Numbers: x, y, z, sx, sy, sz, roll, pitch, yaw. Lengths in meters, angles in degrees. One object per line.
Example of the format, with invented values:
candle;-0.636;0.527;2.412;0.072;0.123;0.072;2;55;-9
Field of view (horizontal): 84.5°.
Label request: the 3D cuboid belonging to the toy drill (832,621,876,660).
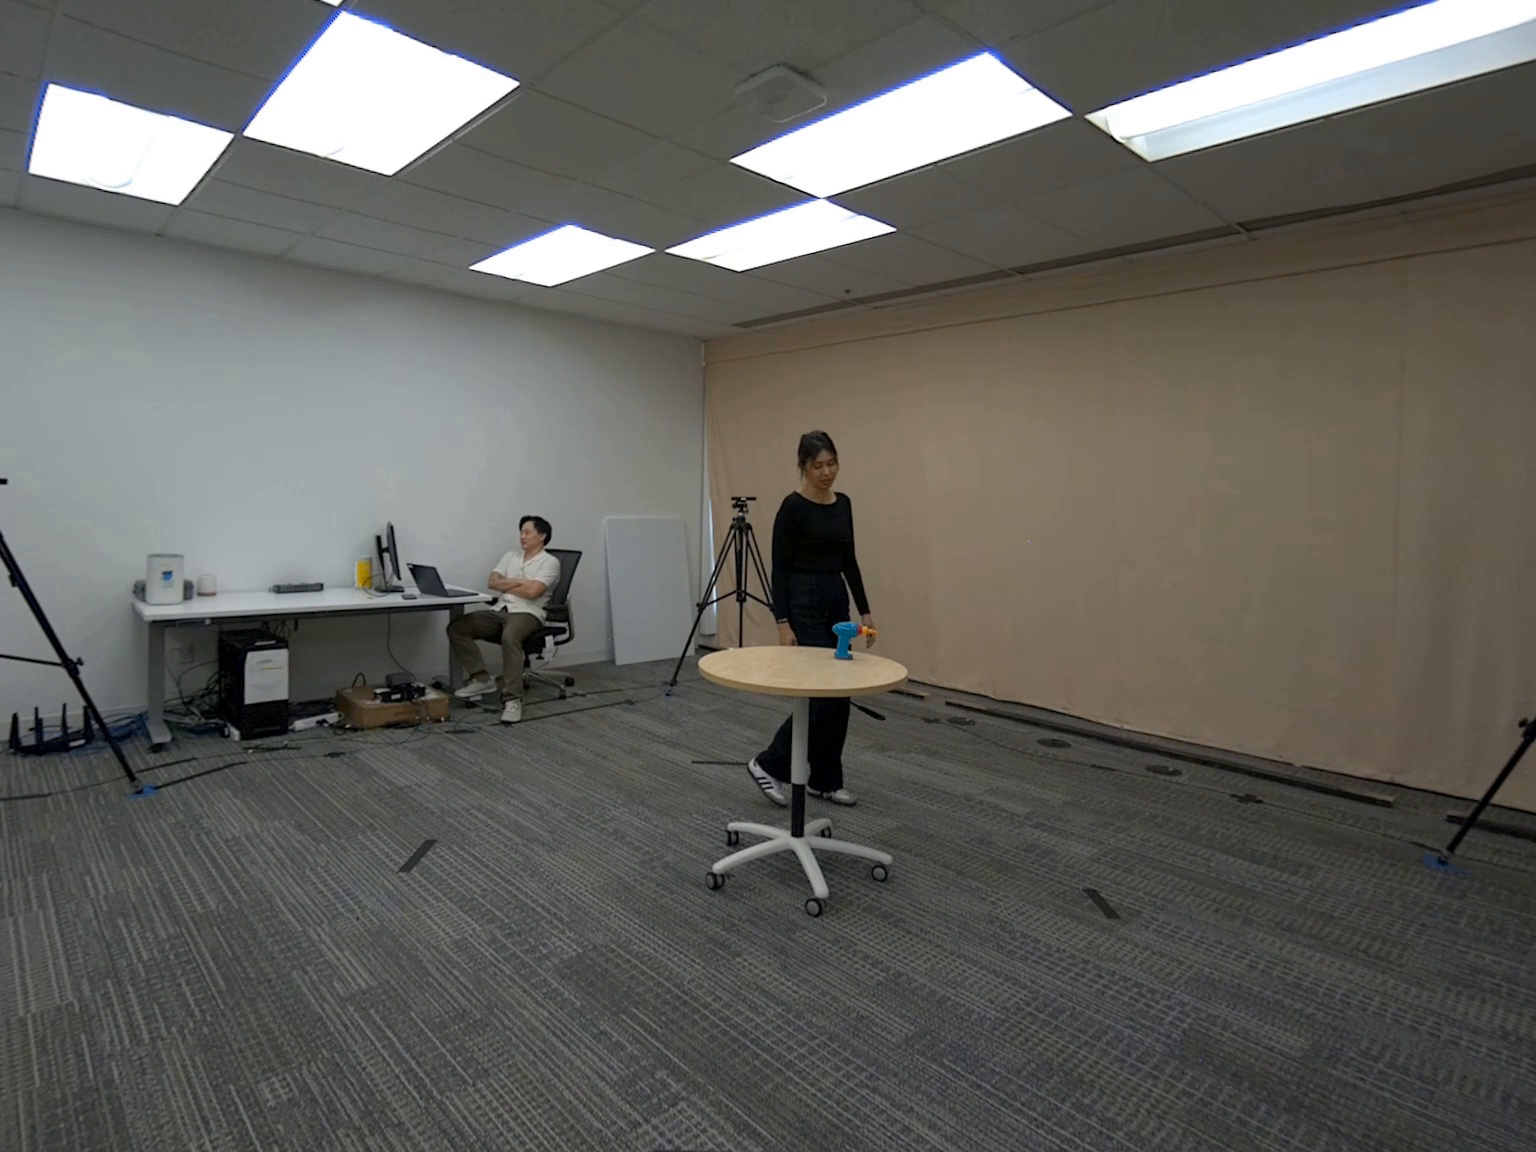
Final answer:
toy drill;0.330;0.249;3.243;0.171;0.145;0.061;2;5;7
